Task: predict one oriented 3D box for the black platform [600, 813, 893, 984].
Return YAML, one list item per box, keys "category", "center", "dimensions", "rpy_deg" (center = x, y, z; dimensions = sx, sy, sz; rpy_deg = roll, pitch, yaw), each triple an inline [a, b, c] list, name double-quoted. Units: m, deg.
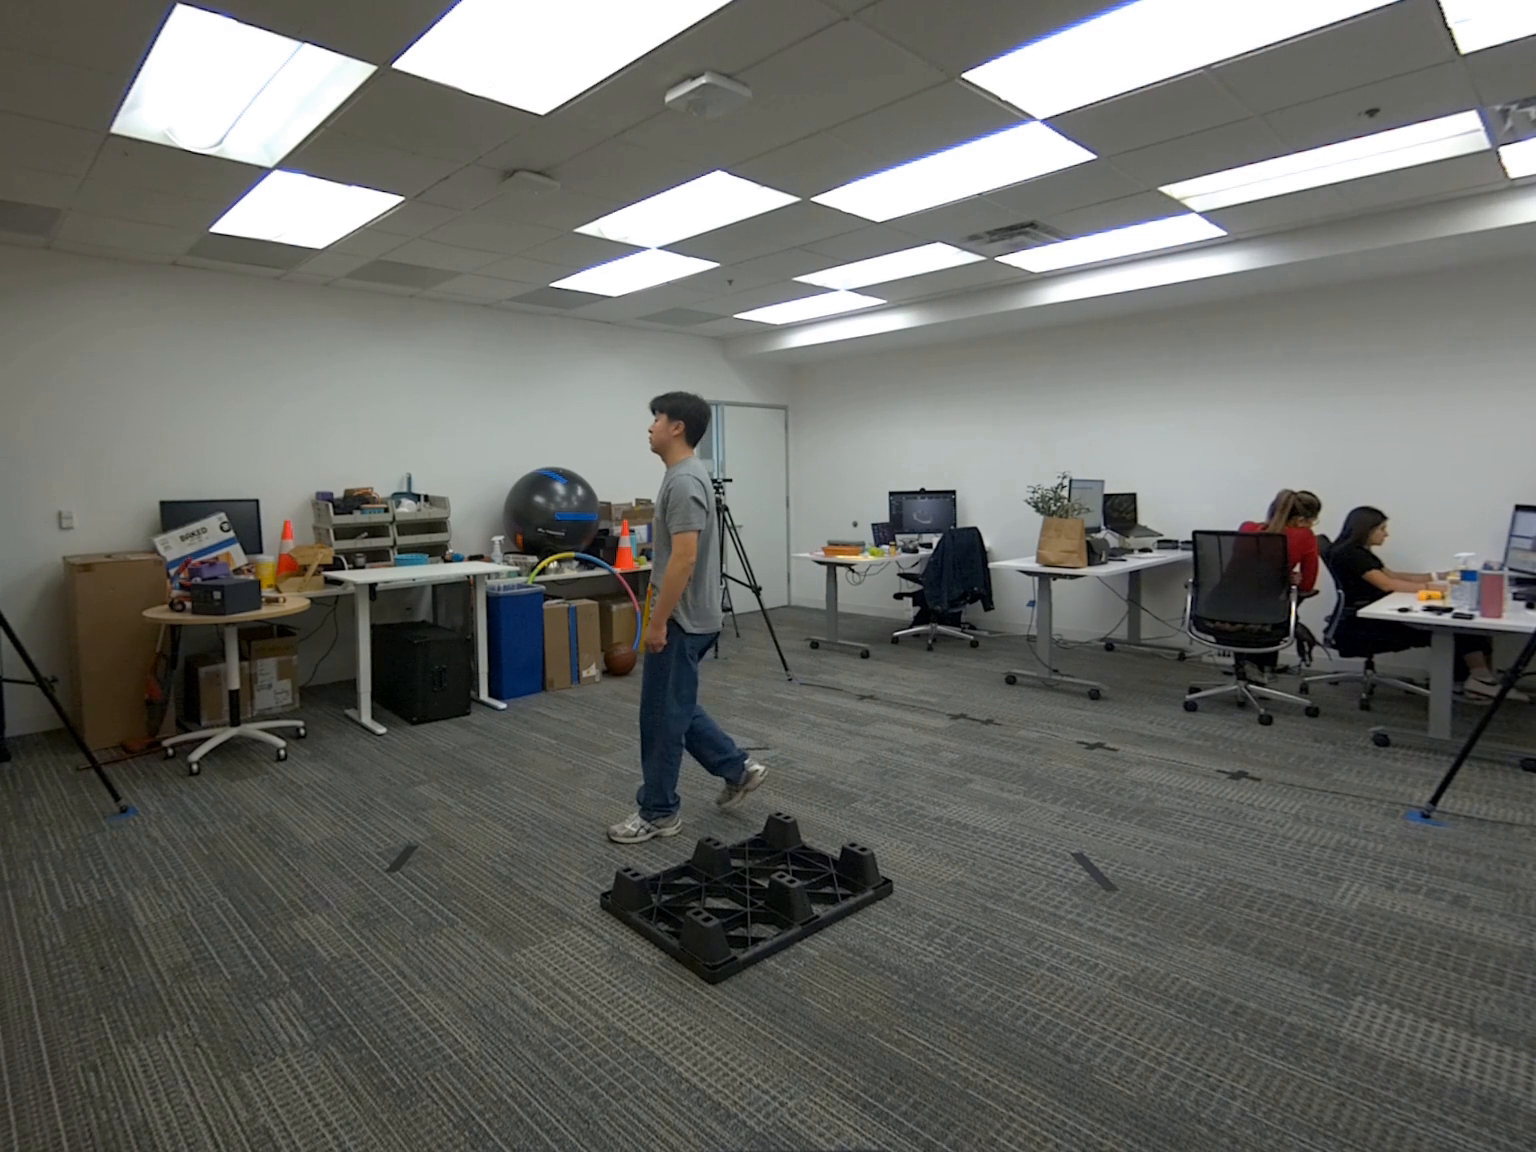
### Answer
- category: "black platform"
  center: [-0.061, 1.012, 2.835]
  dimensions: [0.785, 0.142, 0.624]
  rpy_deg: [-7, 8, -42]
